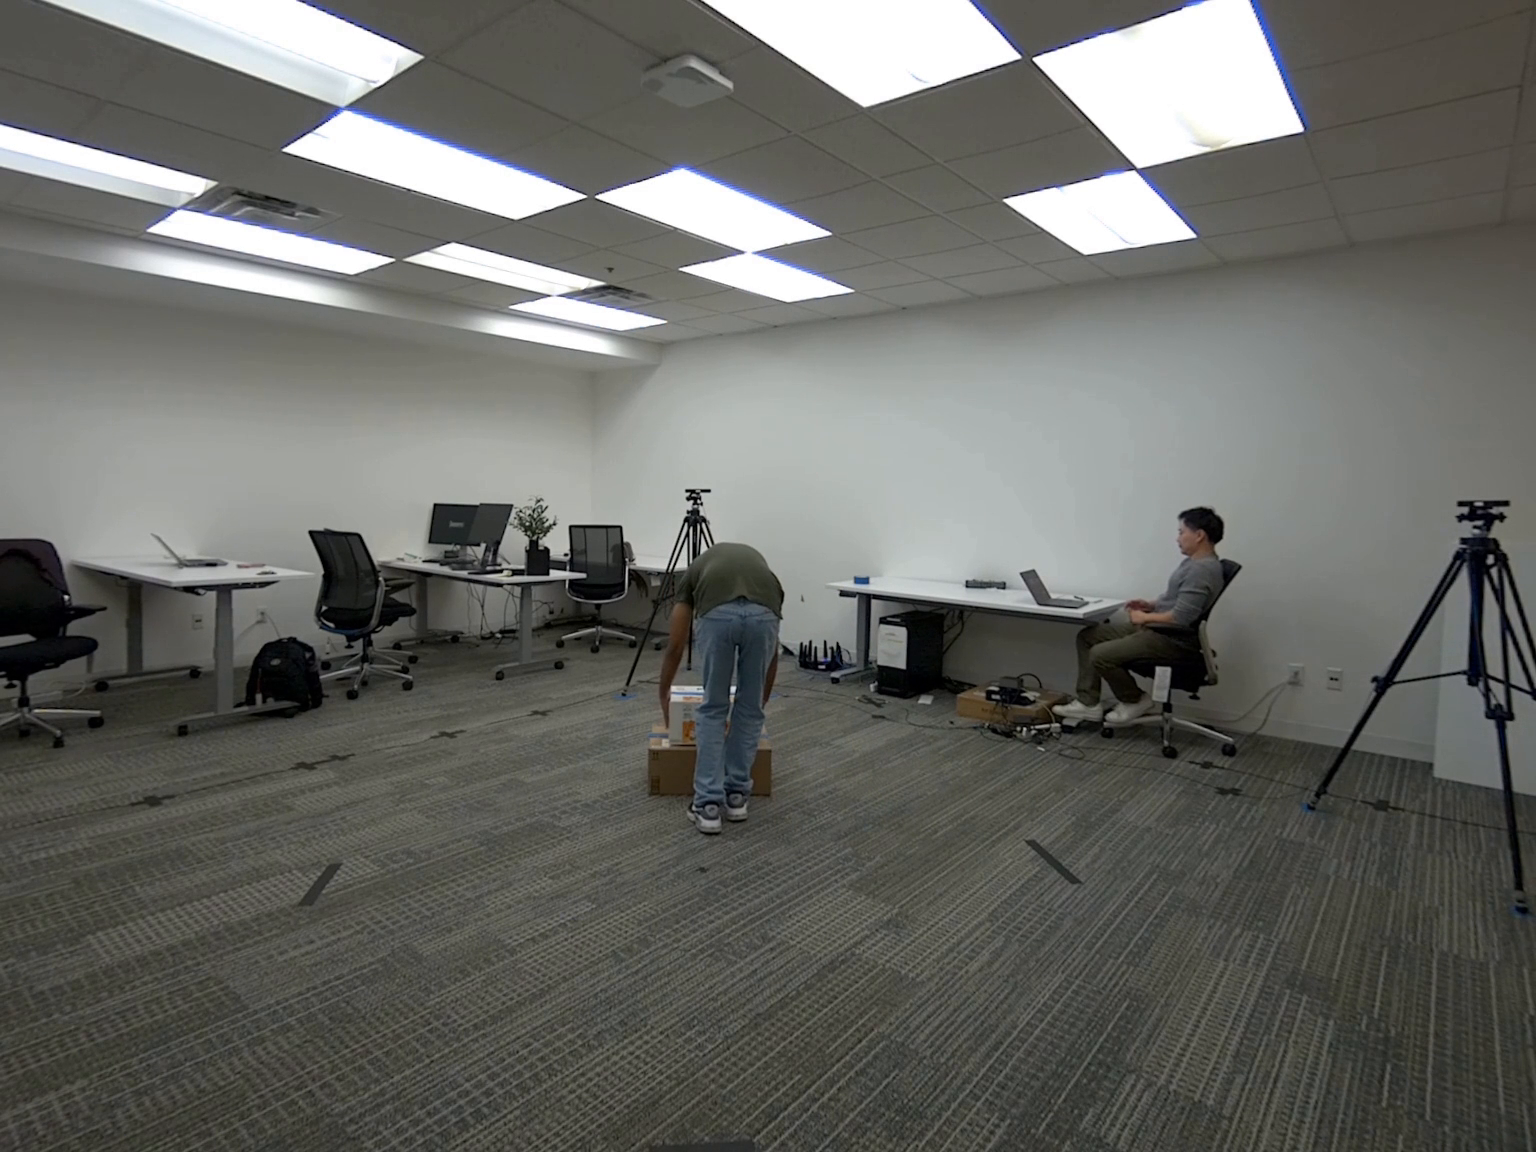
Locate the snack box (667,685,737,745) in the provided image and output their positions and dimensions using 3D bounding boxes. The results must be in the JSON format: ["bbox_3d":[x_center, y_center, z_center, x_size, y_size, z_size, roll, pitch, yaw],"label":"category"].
[{"bbox_3d":[-0.277,0.657,4.075,0.404,0.205,0.343,1,4,-4],"label":"snack box"}]
